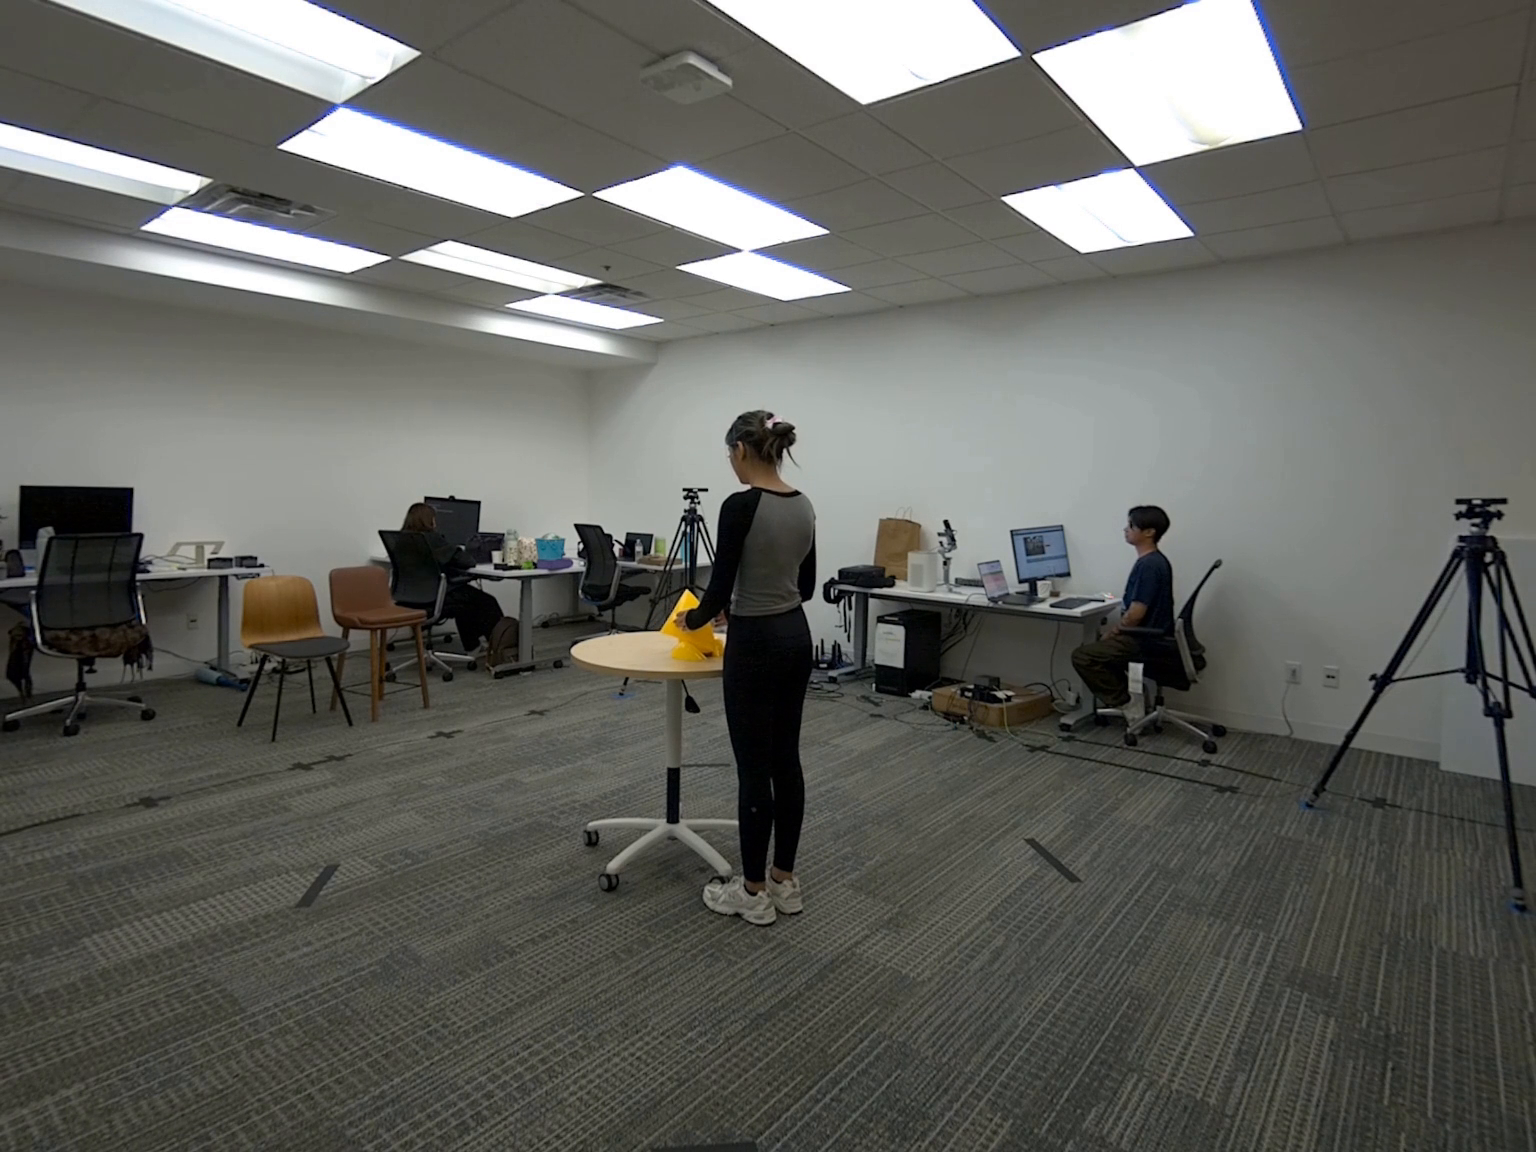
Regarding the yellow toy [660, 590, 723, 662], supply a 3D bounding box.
[{"bbox_3d":[-0.263,0.168,3.050,0.200,0.230,0.198,7,7,42],"label":"yellow toy"}]
